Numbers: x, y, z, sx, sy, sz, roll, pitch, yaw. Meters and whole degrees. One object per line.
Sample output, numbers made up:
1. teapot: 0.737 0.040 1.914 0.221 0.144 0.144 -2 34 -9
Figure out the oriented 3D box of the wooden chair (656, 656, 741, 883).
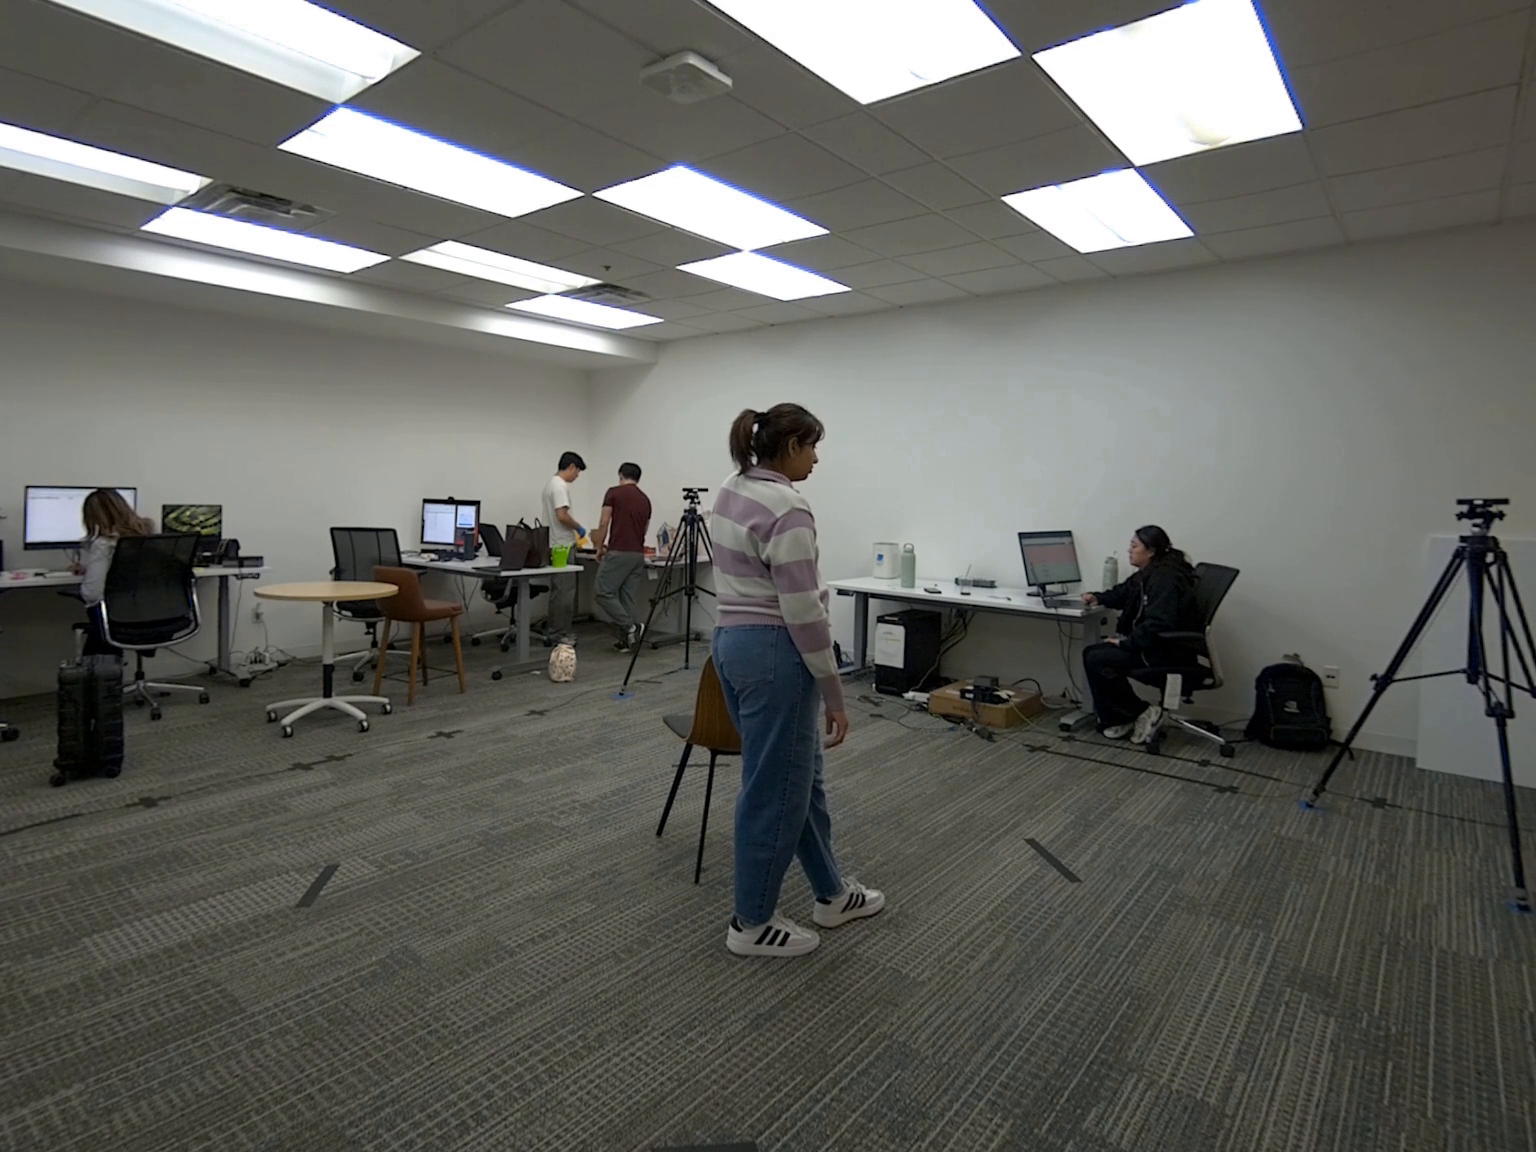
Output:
1. wooden chair: -0.154 0.625 3.258 0.467 0.872 0.539 0 8 -24
